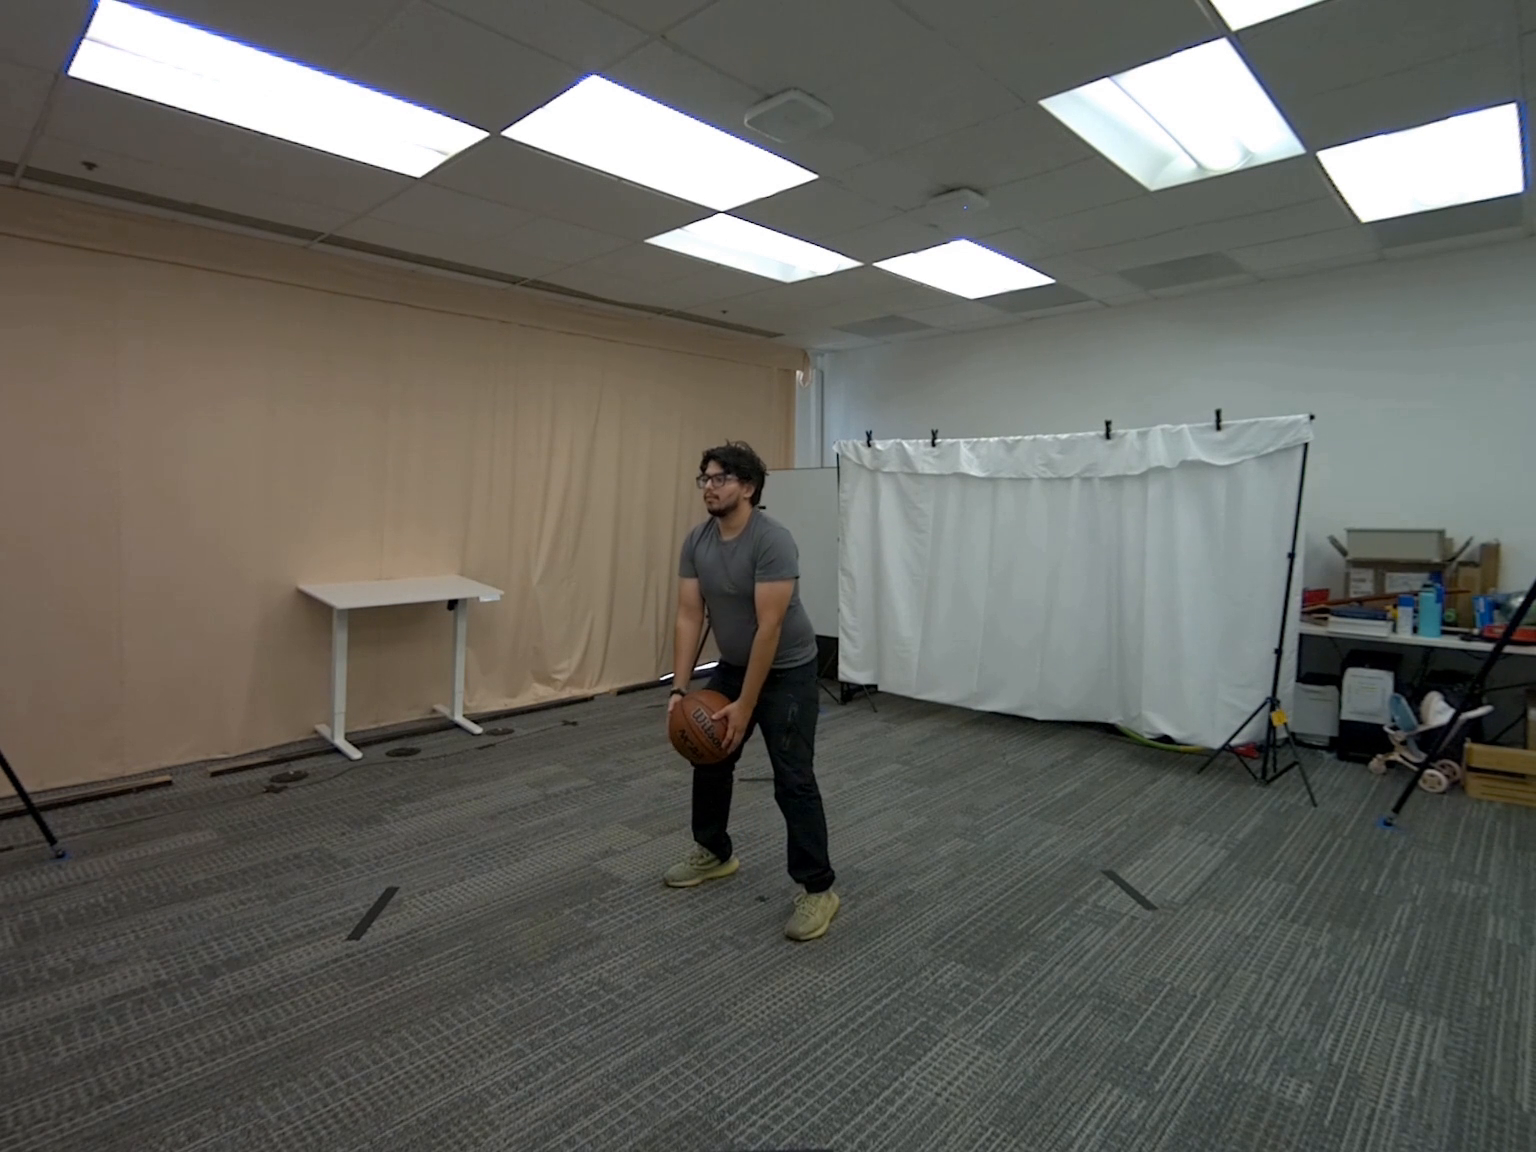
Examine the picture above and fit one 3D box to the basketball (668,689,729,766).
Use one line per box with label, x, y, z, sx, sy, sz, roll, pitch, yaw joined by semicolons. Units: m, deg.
basketball;-0.208;0.499;2.768;0.236;0.235;0.237;0;4;-2
